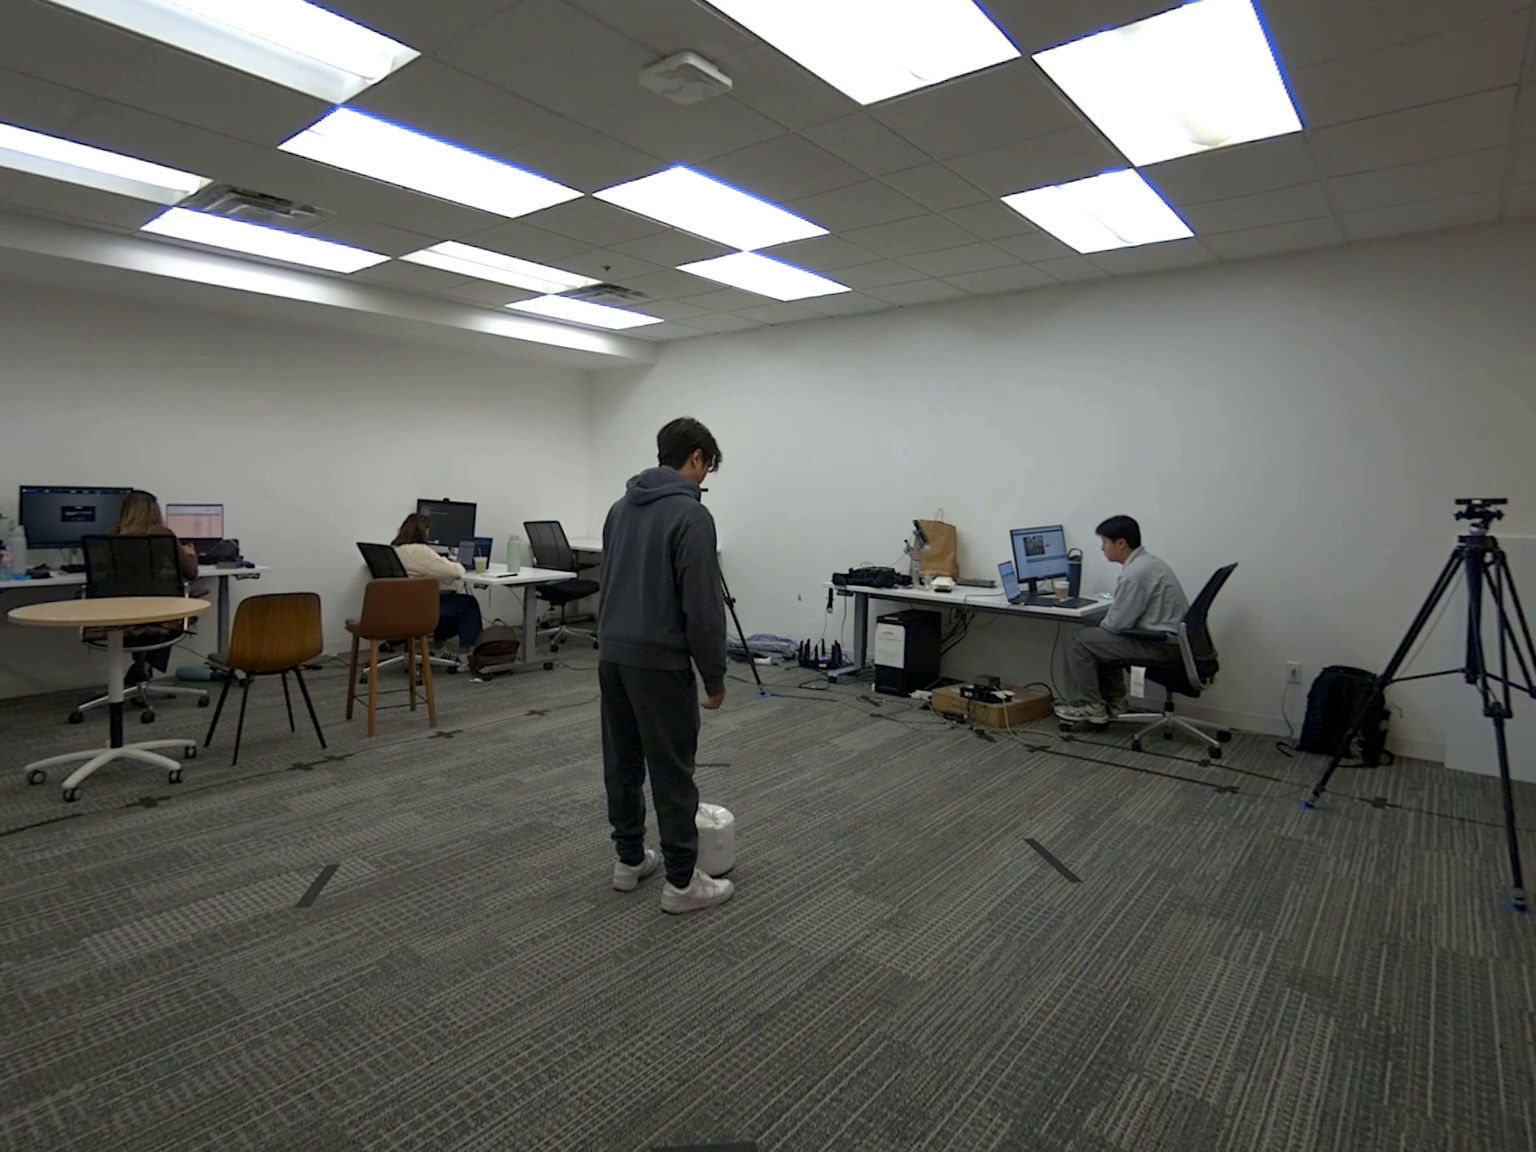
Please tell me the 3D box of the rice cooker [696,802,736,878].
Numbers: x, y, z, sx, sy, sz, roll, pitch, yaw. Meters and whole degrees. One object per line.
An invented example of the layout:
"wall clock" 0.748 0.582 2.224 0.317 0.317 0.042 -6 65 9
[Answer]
"rice cooker" -0.236 0.950 3.123 0.212 0.232 0.227 -3 6 -28
